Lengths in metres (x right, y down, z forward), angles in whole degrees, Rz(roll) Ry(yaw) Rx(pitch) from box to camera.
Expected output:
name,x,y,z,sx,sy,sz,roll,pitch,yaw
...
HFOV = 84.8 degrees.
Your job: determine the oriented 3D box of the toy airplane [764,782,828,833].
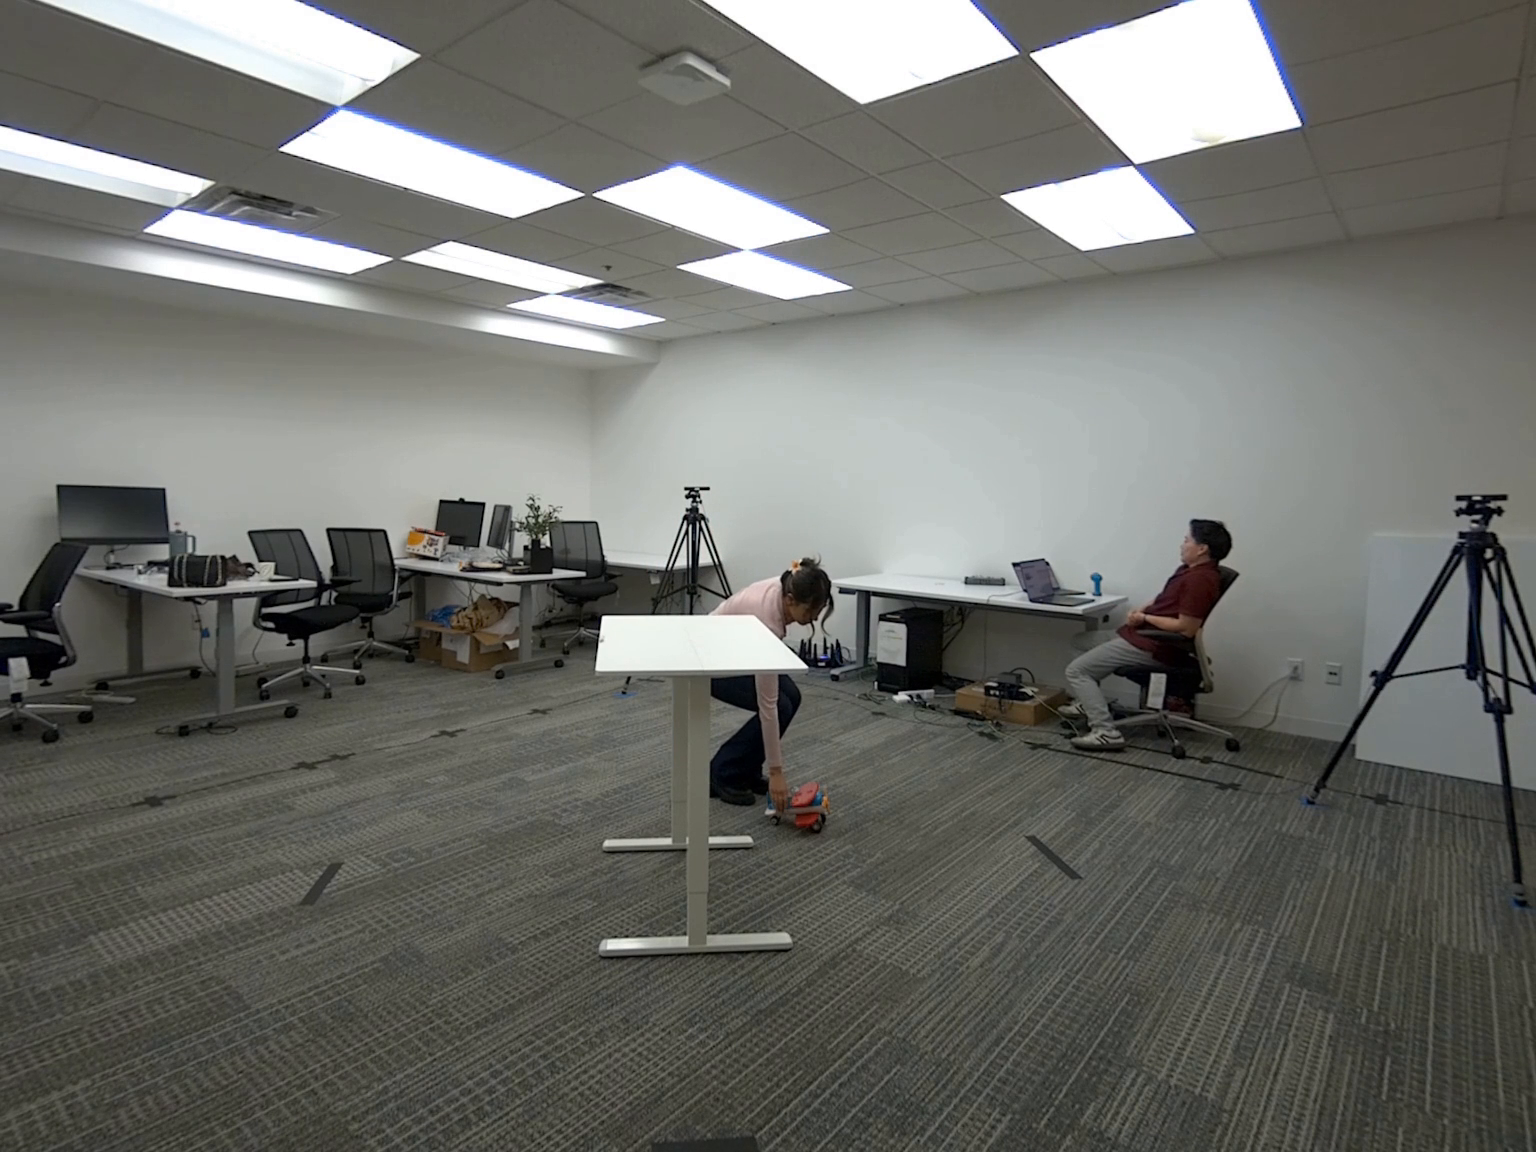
name,x,y,z,sx,sy,sz,roll,pitch,yaw
toy airplane,0.114,0.962,3.501,0.255,0.156,0.256,0,6,-14
